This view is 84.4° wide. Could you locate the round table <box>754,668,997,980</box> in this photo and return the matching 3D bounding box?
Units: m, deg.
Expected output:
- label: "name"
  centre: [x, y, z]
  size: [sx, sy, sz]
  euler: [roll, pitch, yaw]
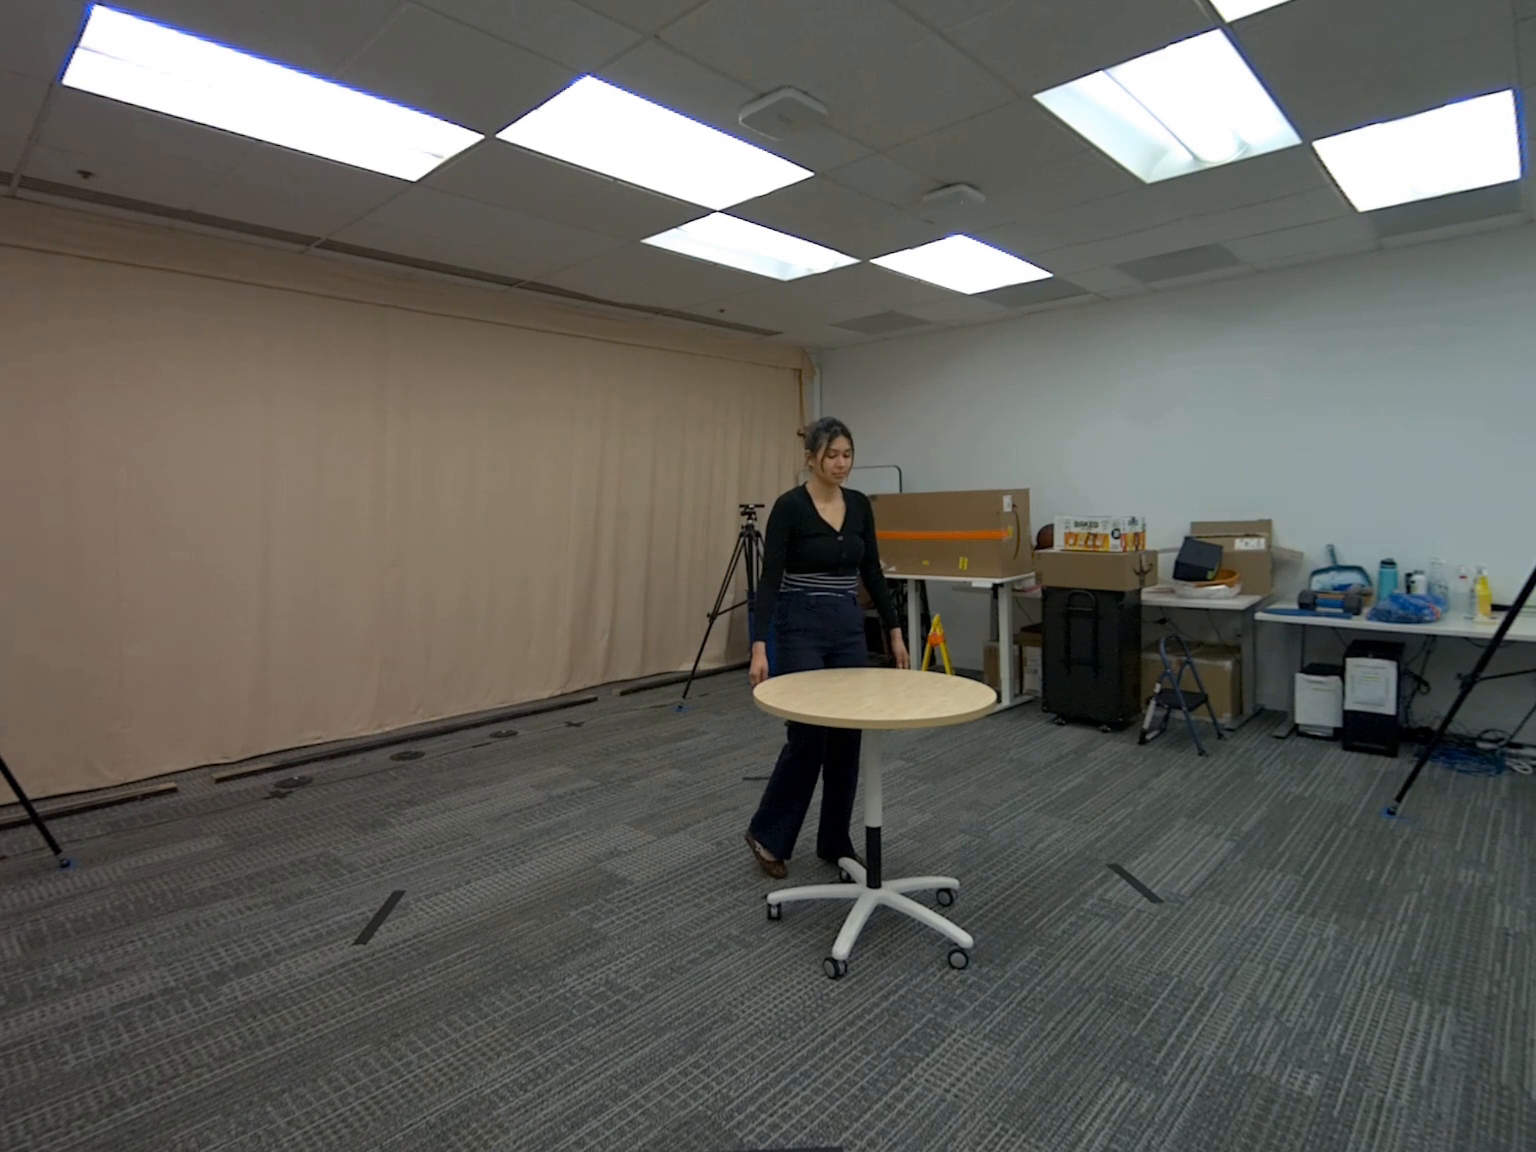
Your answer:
- label: "round table"
  centre: [0.352, 0.765, 2.734]
  size: [0.763, 0.792, 0.767]
  euler: [-1, 4, -2]
